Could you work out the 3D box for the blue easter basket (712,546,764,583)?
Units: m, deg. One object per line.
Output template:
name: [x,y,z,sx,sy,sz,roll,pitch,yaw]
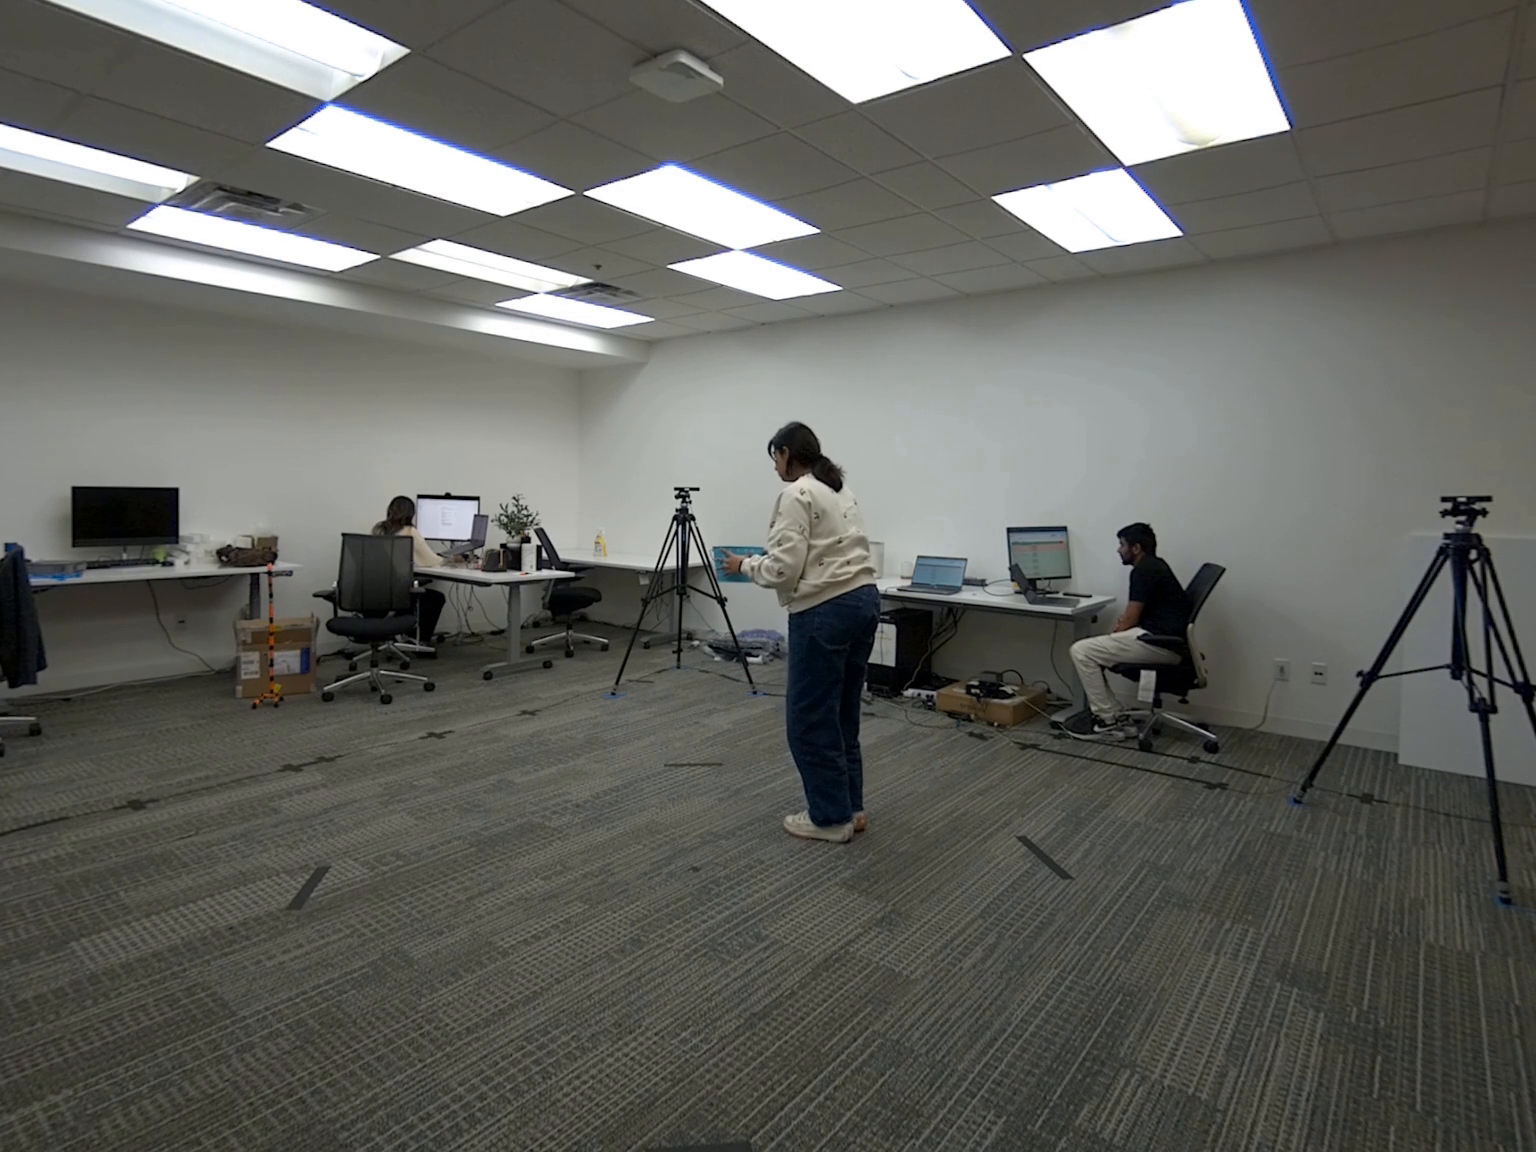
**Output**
blue easter basket: [-0.128,-0.047,3.685,0.243,0.156,0.244,1,2,-2]
